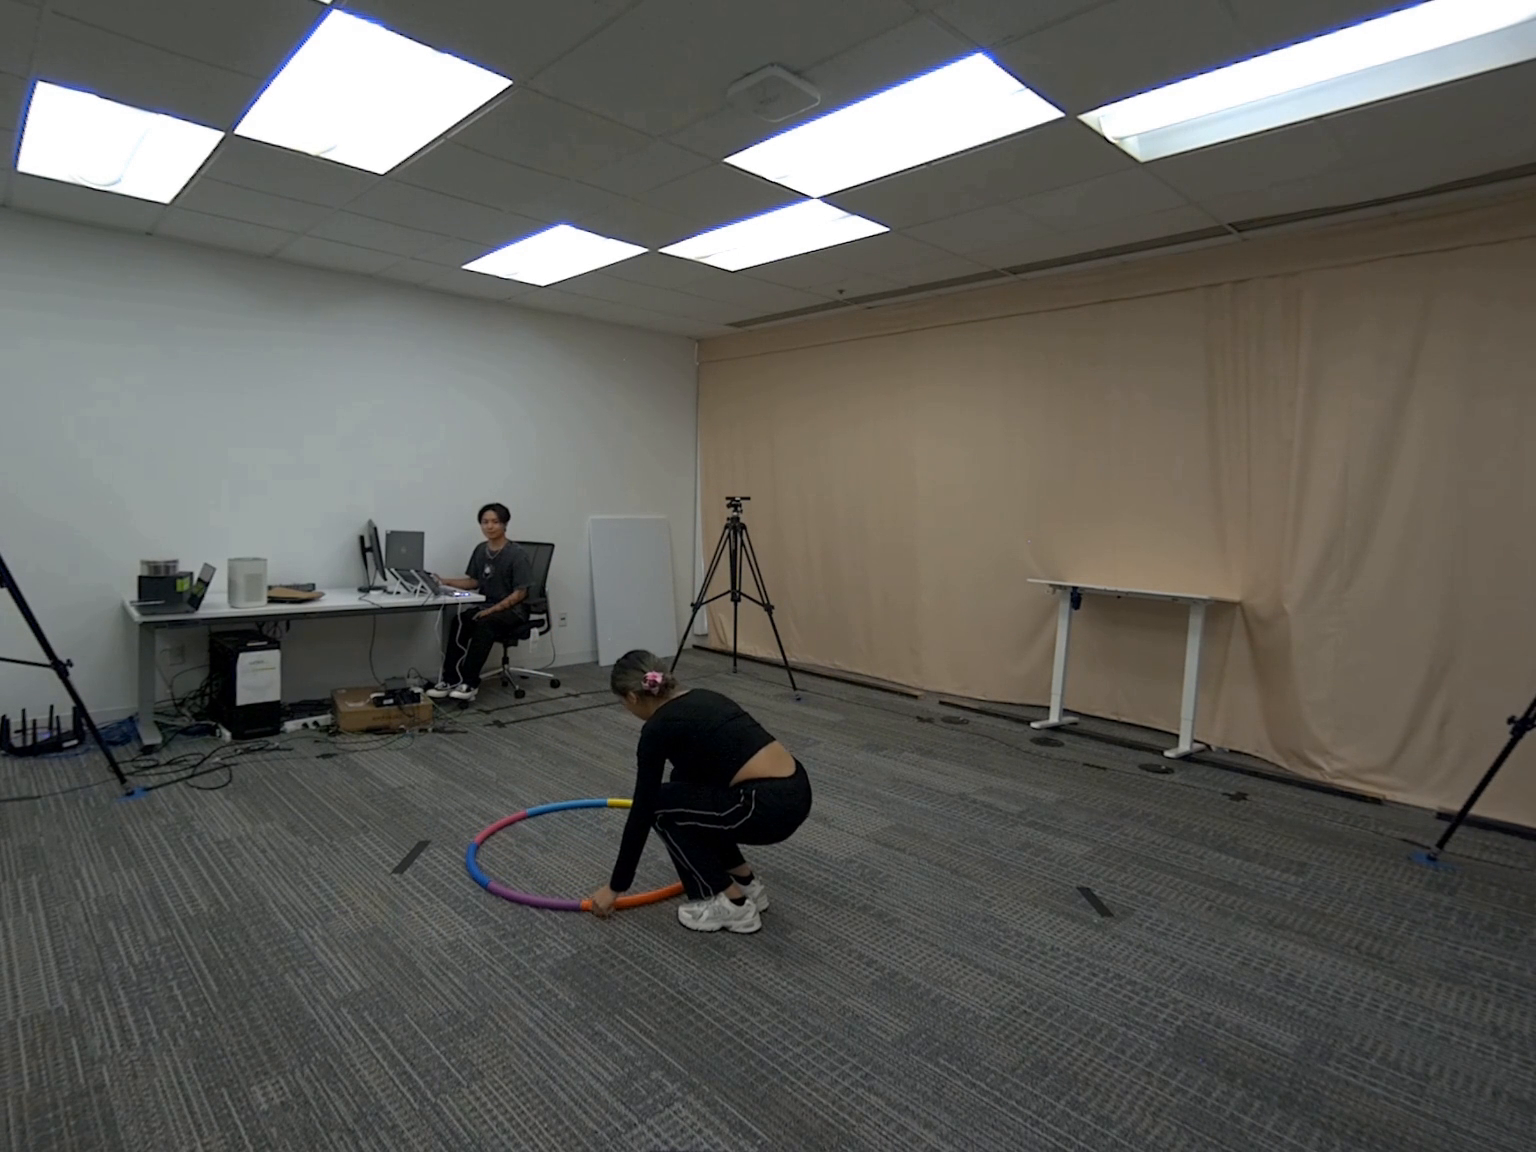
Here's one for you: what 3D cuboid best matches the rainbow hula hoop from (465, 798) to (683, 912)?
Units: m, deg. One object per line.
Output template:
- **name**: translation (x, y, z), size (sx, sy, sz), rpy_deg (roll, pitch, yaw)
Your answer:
- **rainbow hula hoop**: translation (-0.673, 1.049, 3.303), size (0.978, 0.035, 0.982), rpy_deg (2, 5, -1)
